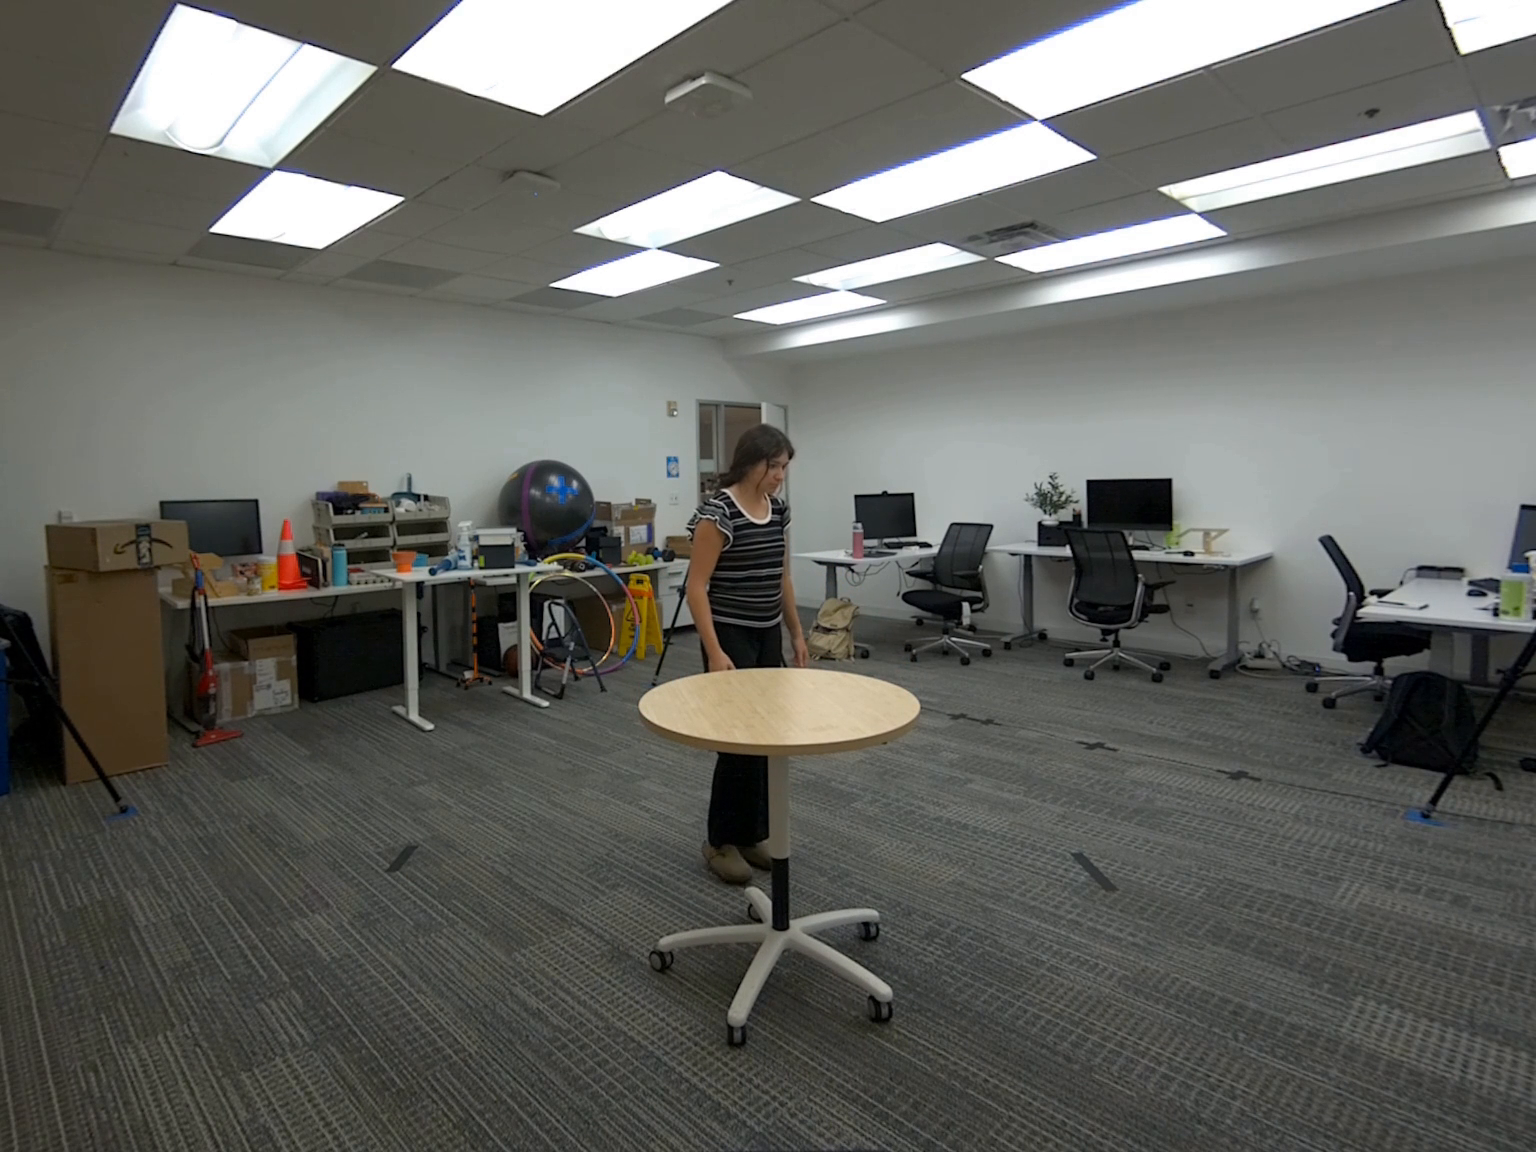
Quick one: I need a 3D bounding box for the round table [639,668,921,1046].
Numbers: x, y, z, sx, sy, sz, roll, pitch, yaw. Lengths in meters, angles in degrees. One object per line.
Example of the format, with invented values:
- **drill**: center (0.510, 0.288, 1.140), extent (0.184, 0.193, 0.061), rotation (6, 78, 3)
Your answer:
- **round table**: center (0.034, 0.740, 2.380), extent (0.763, 0.790, 0.768), rotation (-1, 5, -2)
